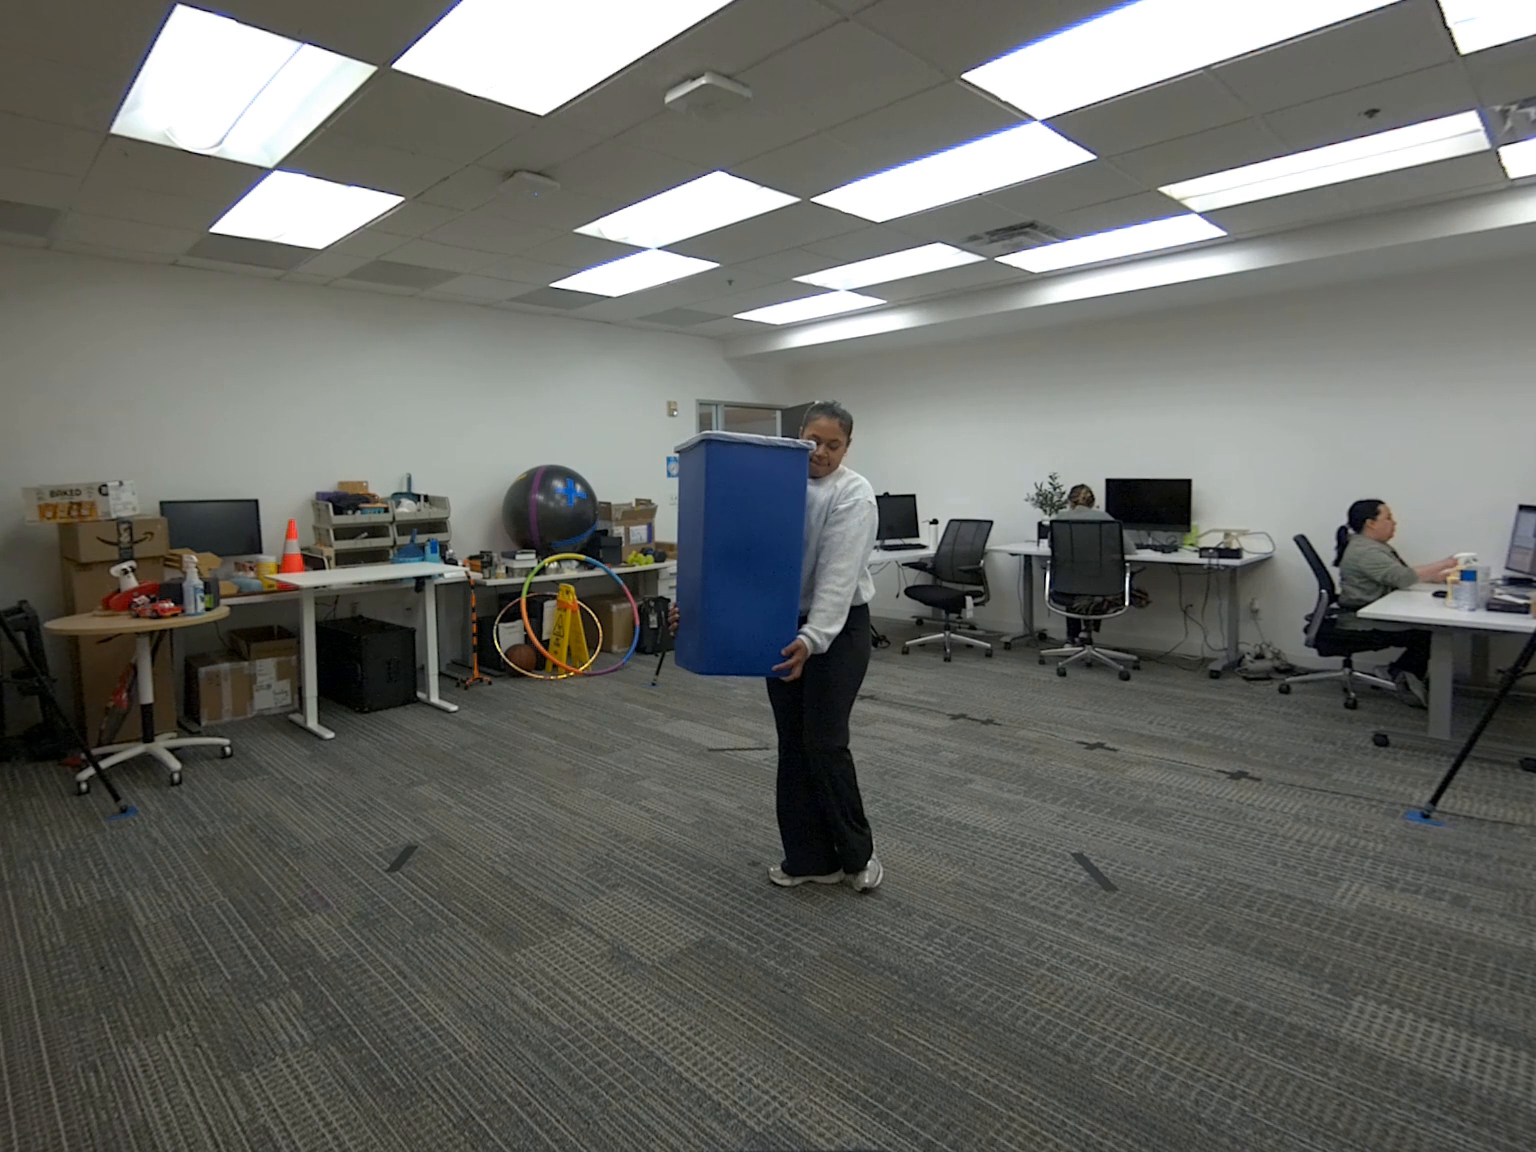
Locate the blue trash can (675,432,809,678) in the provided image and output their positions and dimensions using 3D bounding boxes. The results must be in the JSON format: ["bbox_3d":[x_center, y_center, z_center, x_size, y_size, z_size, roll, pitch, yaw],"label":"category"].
[{"bbox_3d":[-0.095,-0.065,2.701,0.370,0.715,0.381,4,-3,-23],"label":"blue trash can"}]
